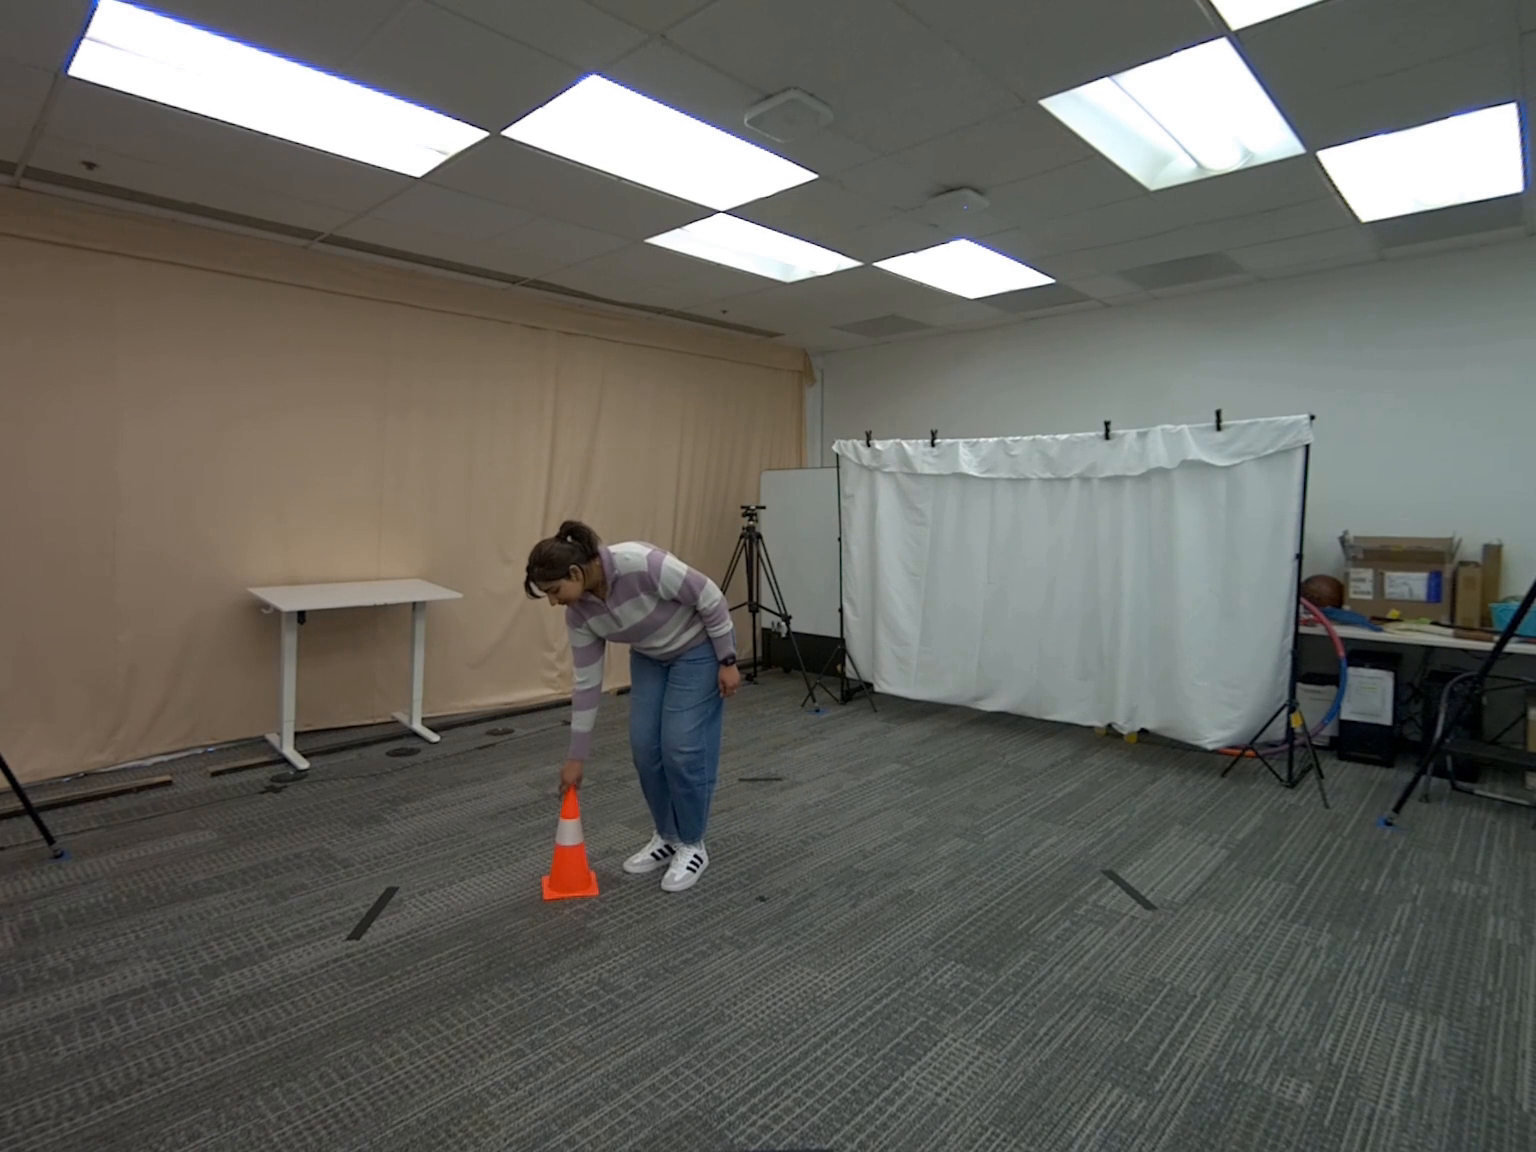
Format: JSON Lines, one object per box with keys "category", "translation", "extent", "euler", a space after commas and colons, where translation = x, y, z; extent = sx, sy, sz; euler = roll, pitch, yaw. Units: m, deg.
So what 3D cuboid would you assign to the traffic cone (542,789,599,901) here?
{"category": "traffic cone", "translation": [-0.729, 0.954, 3.095], "extent": [0.200, 0.383, 0.208], "euler": [0, 1, -14]}
